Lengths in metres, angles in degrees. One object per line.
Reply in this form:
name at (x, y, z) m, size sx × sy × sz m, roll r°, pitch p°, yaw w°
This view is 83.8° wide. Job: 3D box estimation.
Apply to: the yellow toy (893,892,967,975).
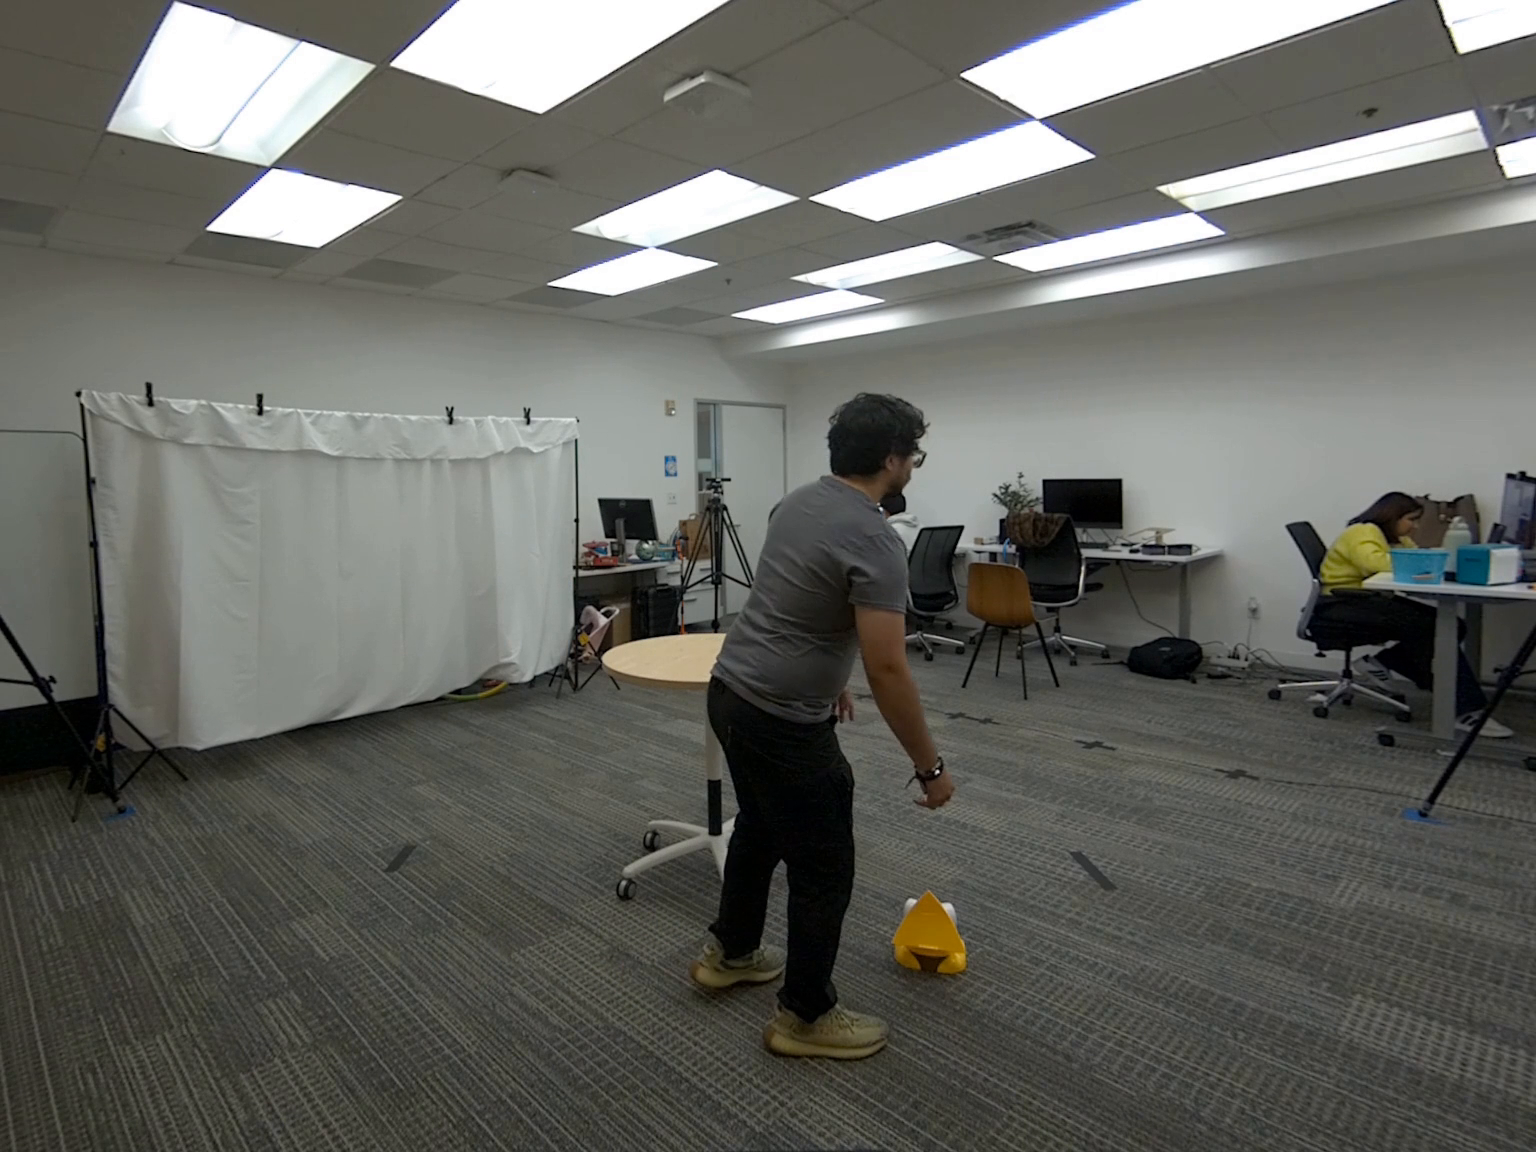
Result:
yellow toy at (0.474, 0.995, 2.466) m, size 0.208 × 0.229 × 0.191 m, roll 0°, pitch 7°, yaw 14°
